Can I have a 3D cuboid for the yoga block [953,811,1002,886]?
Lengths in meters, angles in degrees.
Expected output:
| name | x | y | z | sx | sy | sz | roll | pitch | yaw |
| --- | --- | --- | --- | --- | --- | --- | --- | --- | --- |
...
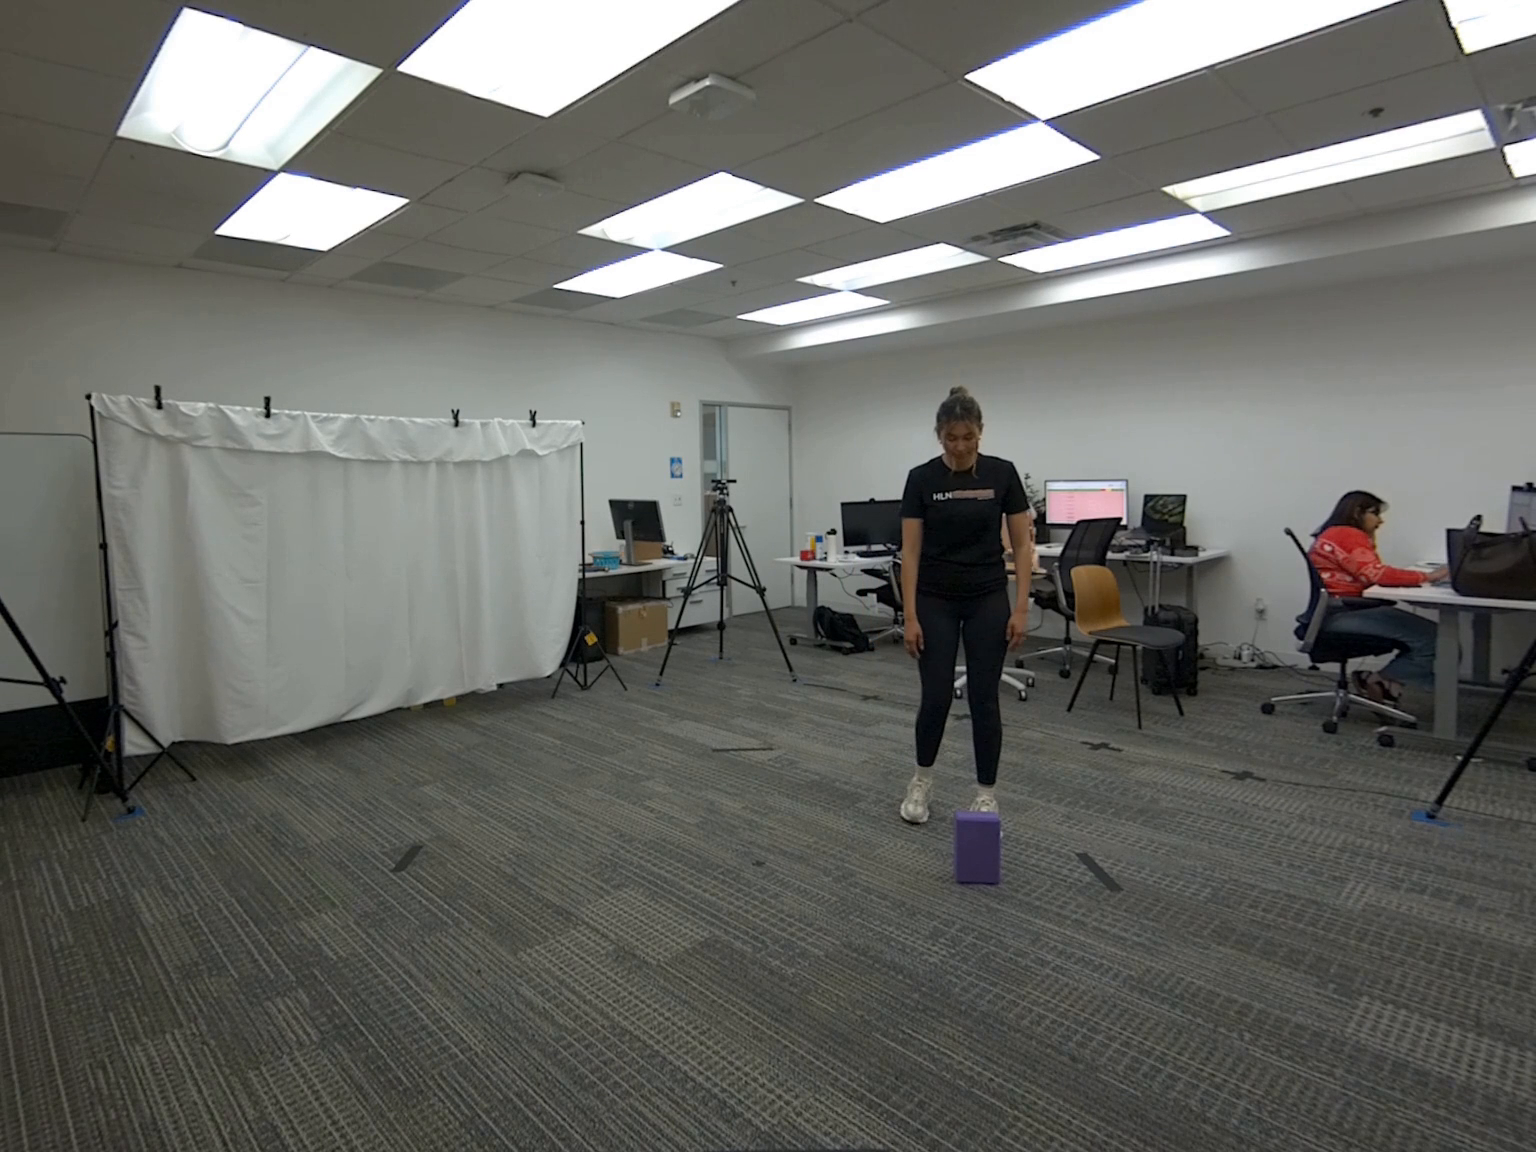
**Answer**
| name | x | y | z | sx | sy | sz | roll | pitch | yaw |
| --- | --- | --- | --- | --- | --- | --- | --- | --- | --- |
| yoga block | 0.726 | 0.938 | 2.943 | 0.150 | 0.228 | 0.076 | -1 | 3 | 5 |
